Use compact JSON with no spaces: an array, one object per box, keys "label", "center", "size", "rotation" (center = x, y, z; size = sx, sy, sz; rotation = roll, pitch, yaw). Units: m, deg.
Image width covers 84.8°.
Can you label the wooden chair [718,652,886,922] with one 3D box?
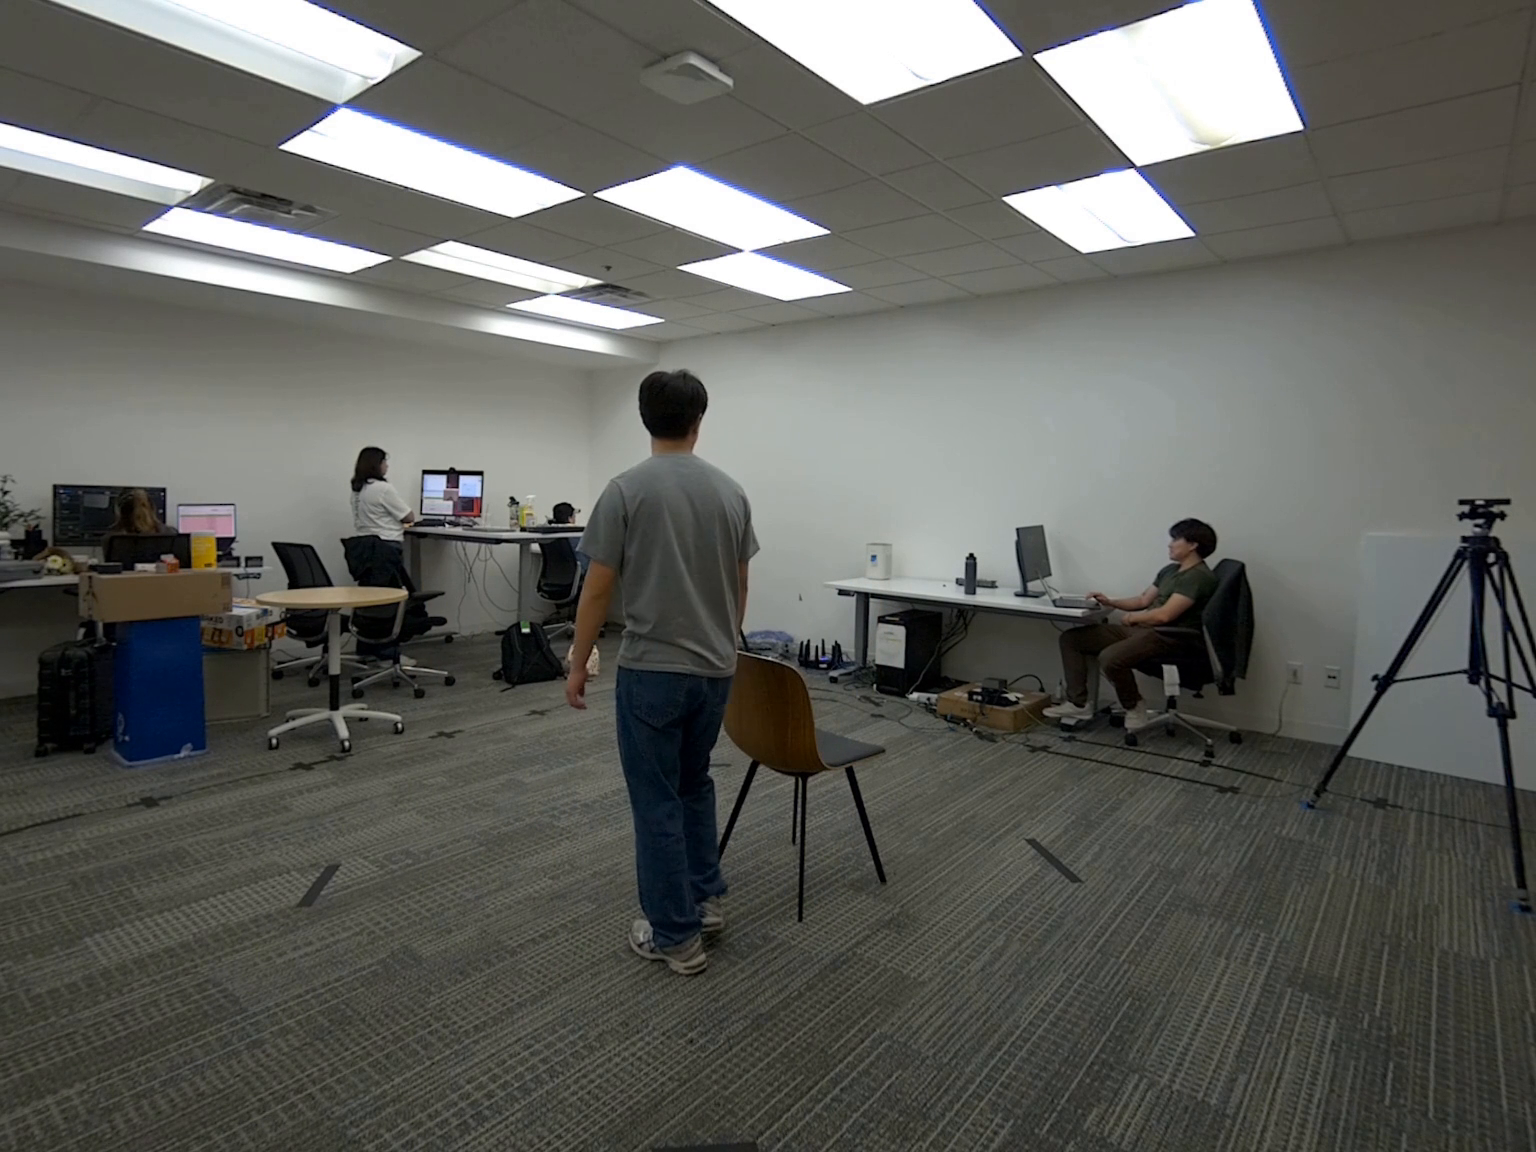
[{"label":"wooden chair","center":[0.109,0.656,3.036],"size":[0.509,0.872,0.494],"rotation":[-8,8,-43]}]
